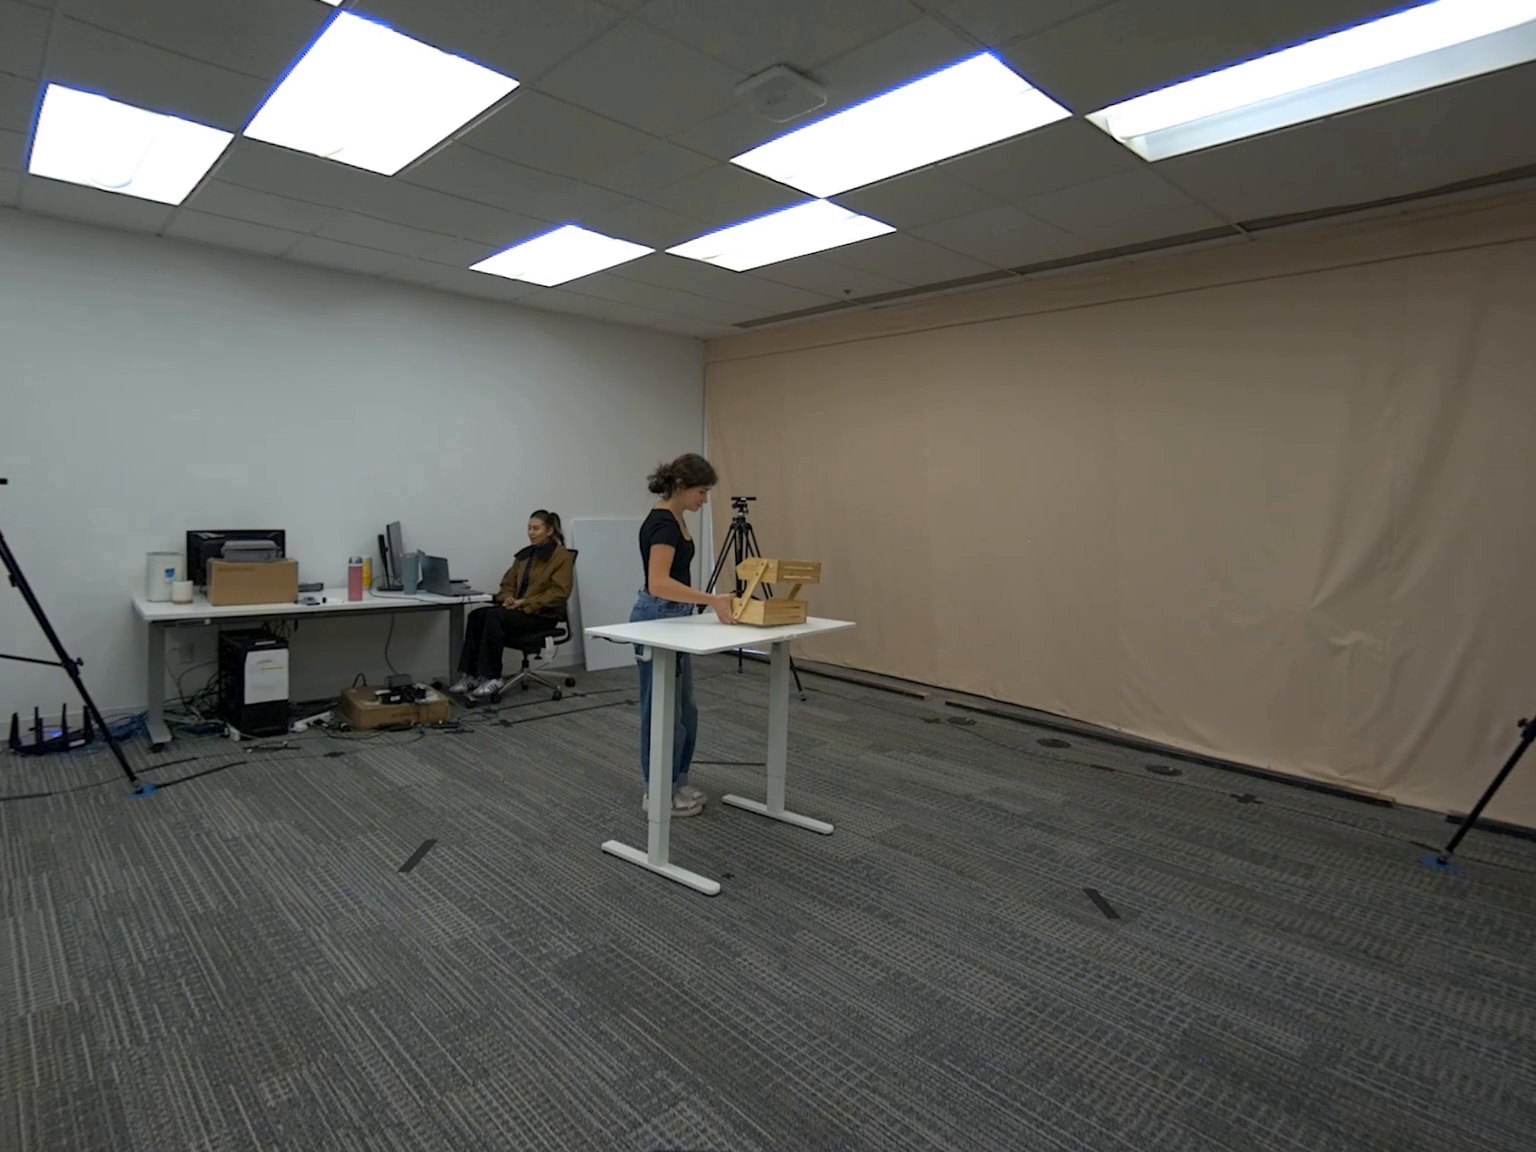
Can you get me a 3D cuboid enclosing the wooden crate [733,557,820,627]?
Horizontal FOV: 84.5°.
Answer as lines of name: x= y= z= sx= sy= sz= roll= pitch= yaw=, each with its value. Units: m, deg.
wooden crate: x=-0.005 y=0.054 z=3.486 sx=0.309 sy=0.273 sz=0.317 roll=5 pitch=2 yaw=38
